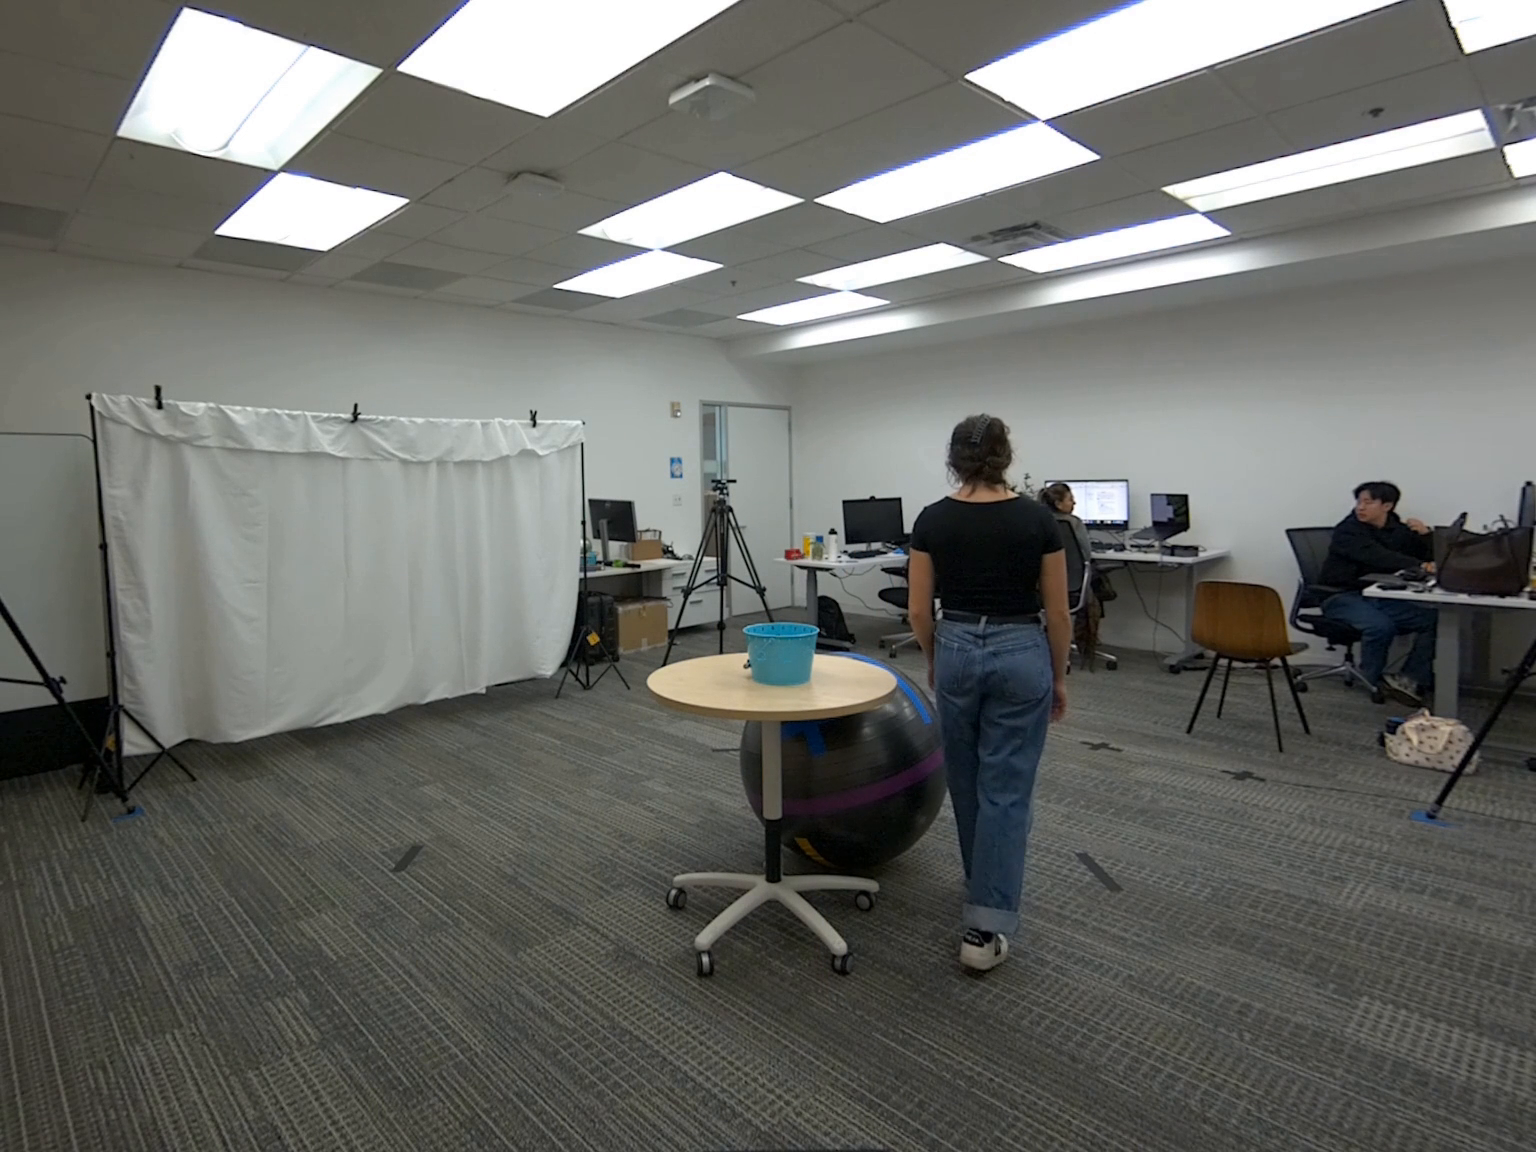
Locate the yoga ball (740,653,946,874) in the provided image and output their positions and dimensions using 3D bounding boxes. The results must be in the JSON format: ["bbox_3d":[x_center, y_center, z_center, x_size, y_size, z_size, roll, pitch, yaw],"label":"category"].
[{"bbox_3d":[0.274,0.670,3.136,0.757,0.755,0.762,-1,5,-2],"label":"yoga ball"}]
